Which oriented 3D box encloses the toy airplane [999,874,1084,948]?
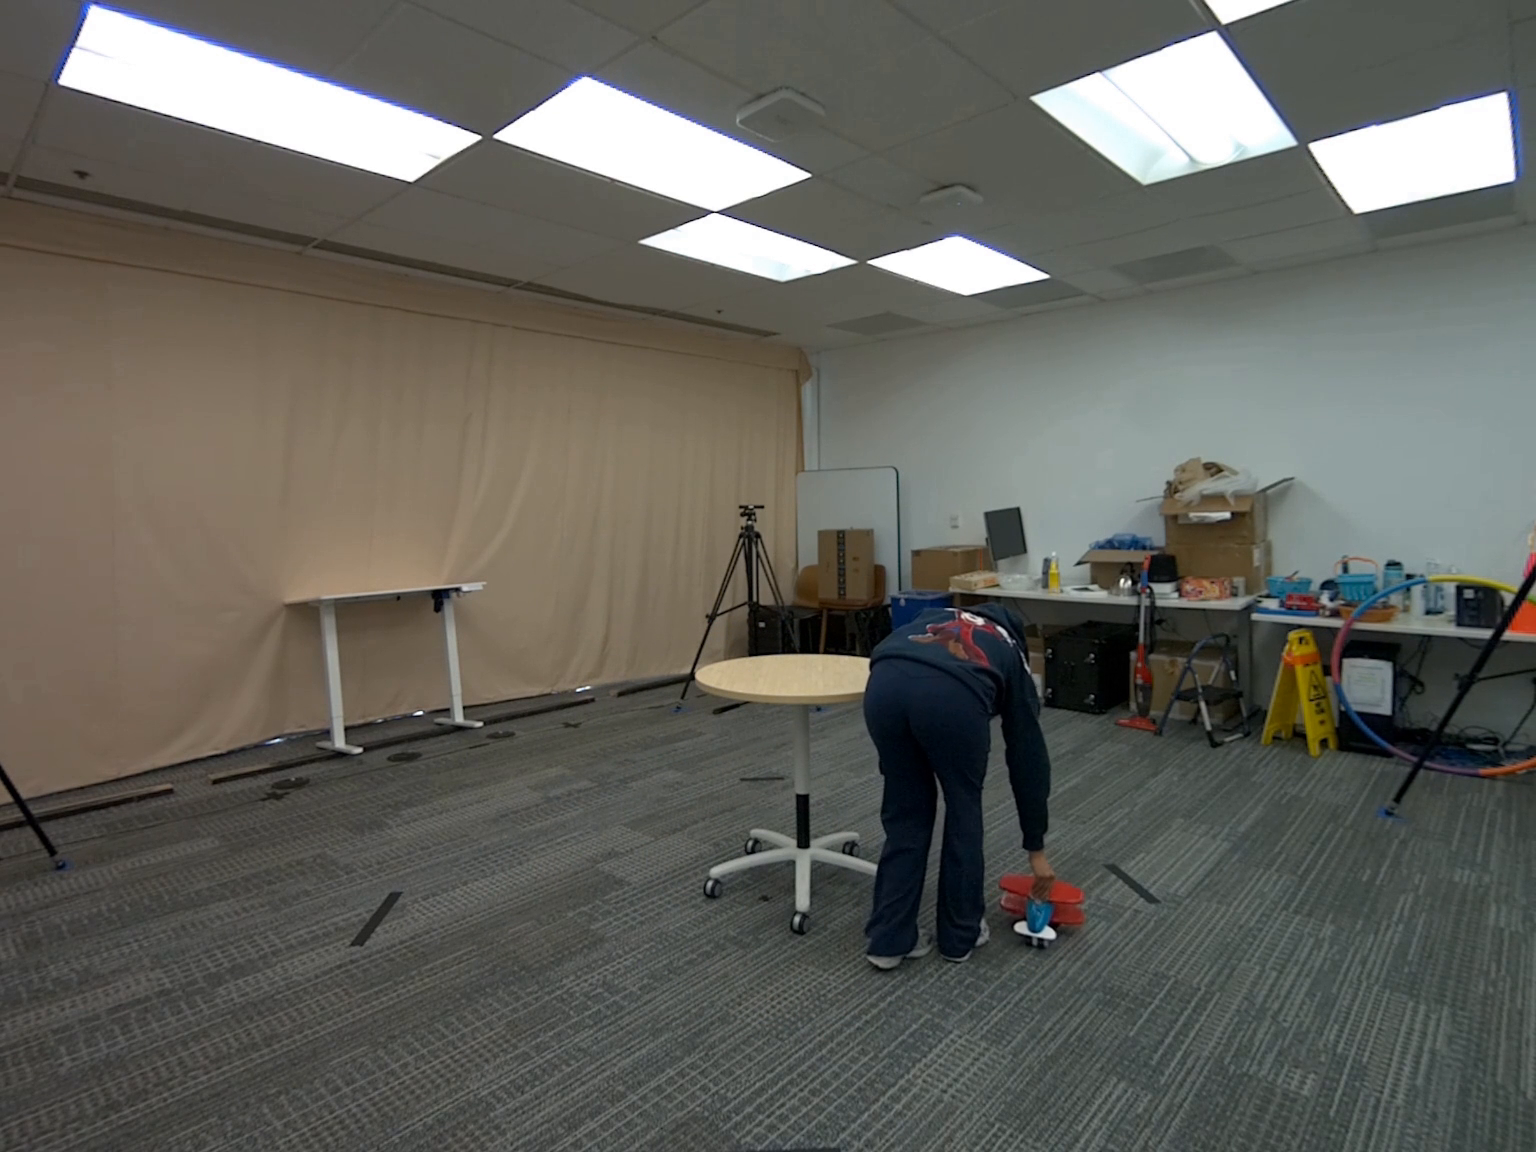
[{"bbox_3d":[0.901,1.082,2.683,0.251,0.156,0.260,-1,3,-1],"label":"toy airplane"}]
